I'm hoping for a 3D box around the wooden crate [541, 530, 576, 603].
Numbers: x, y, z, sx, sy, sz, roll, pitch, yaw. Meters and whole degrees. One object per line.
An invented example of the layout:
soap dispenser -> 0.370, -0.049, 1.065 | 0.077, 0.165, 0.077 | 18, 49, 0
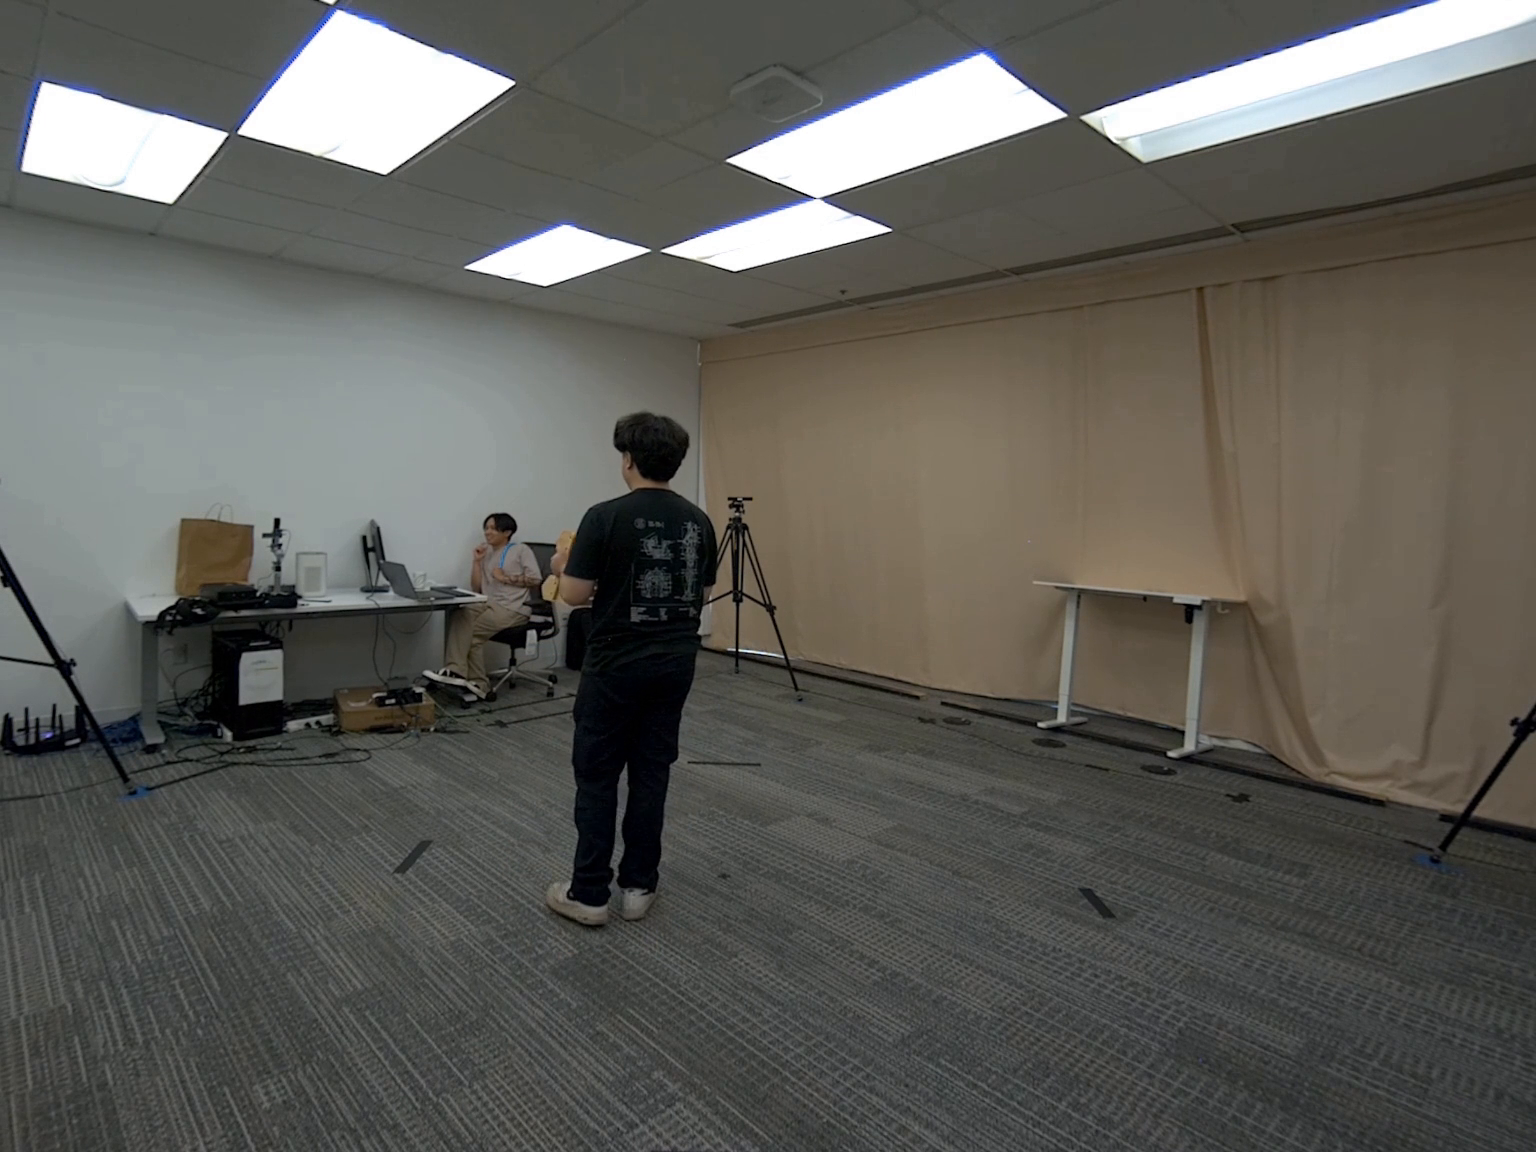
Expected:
wooden crate -> -0.629, -0.030, 3.098 | 0.317, 0.273, 0.310 | 3, 3, -37
